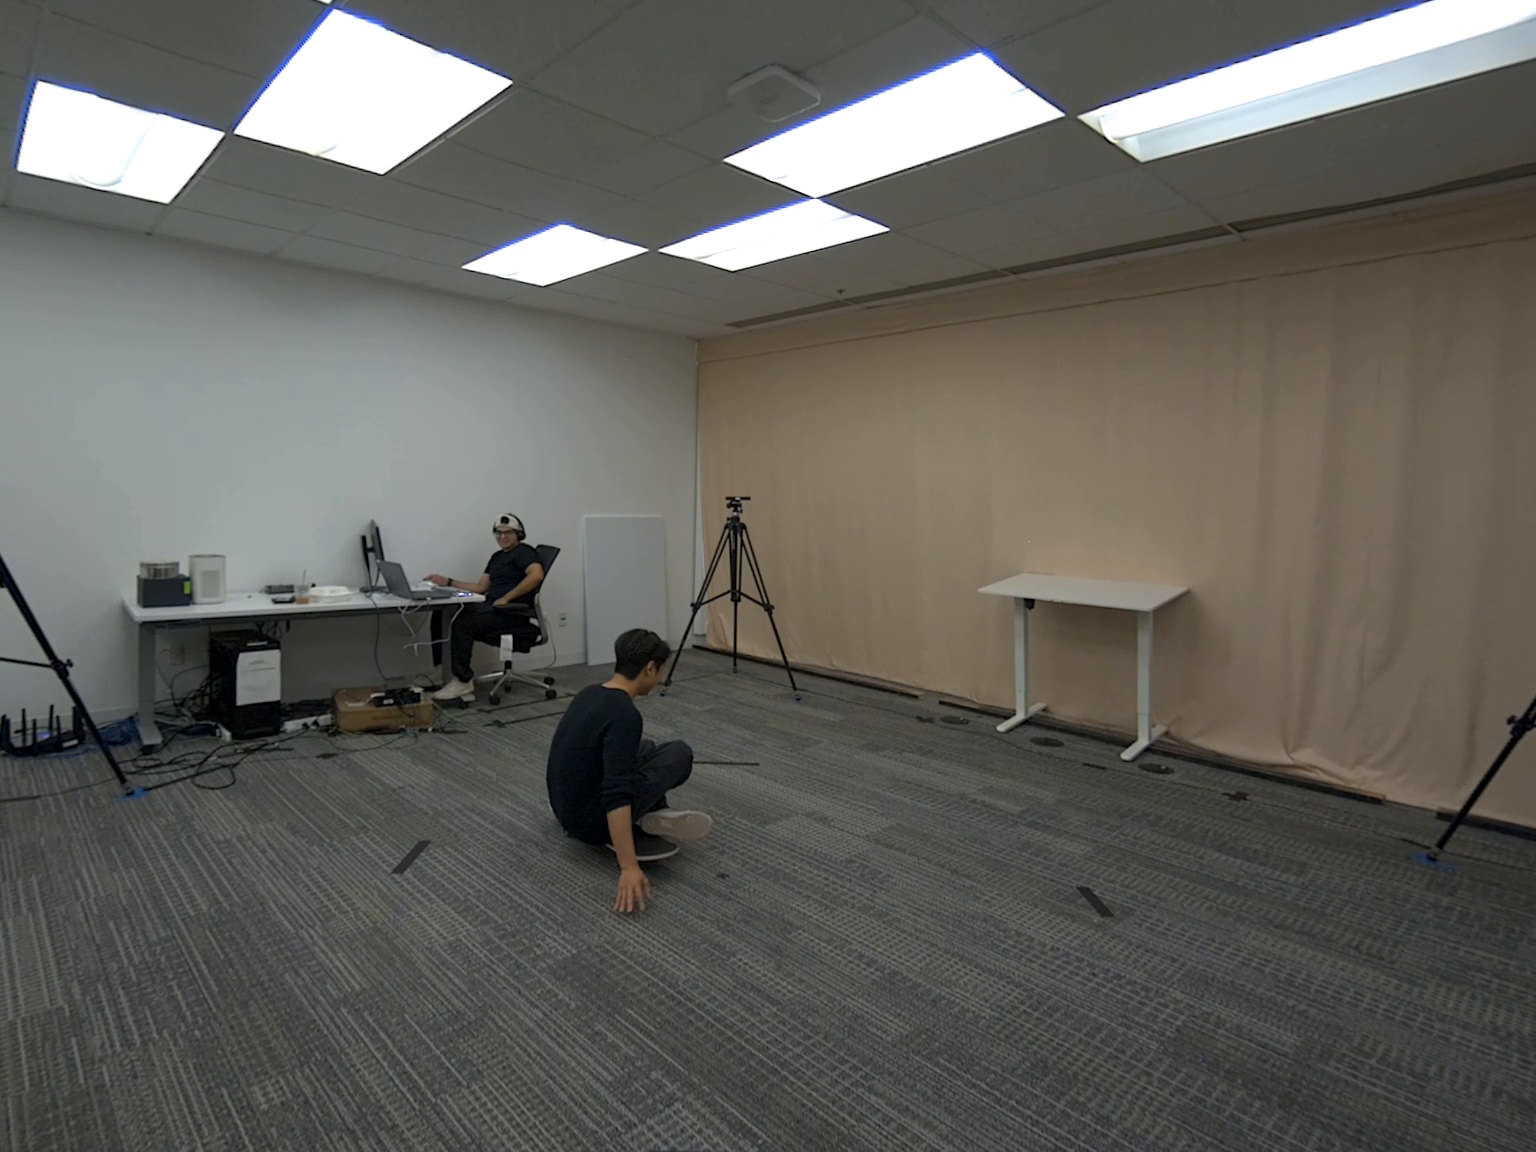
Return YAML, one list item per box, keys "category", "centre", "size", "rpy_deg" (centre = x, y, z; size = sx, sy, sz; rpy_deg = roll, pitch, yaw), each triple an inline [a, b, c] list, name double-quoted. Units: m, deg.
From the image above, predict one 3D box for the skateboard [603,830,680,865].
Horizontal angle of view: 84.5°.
- category: "skateboard"
  centre: [-0.627, 1.028, 3.336]
  size: [0.189, 0.110, 0.805]
  rpy_deg: [-3, 6, -41]
